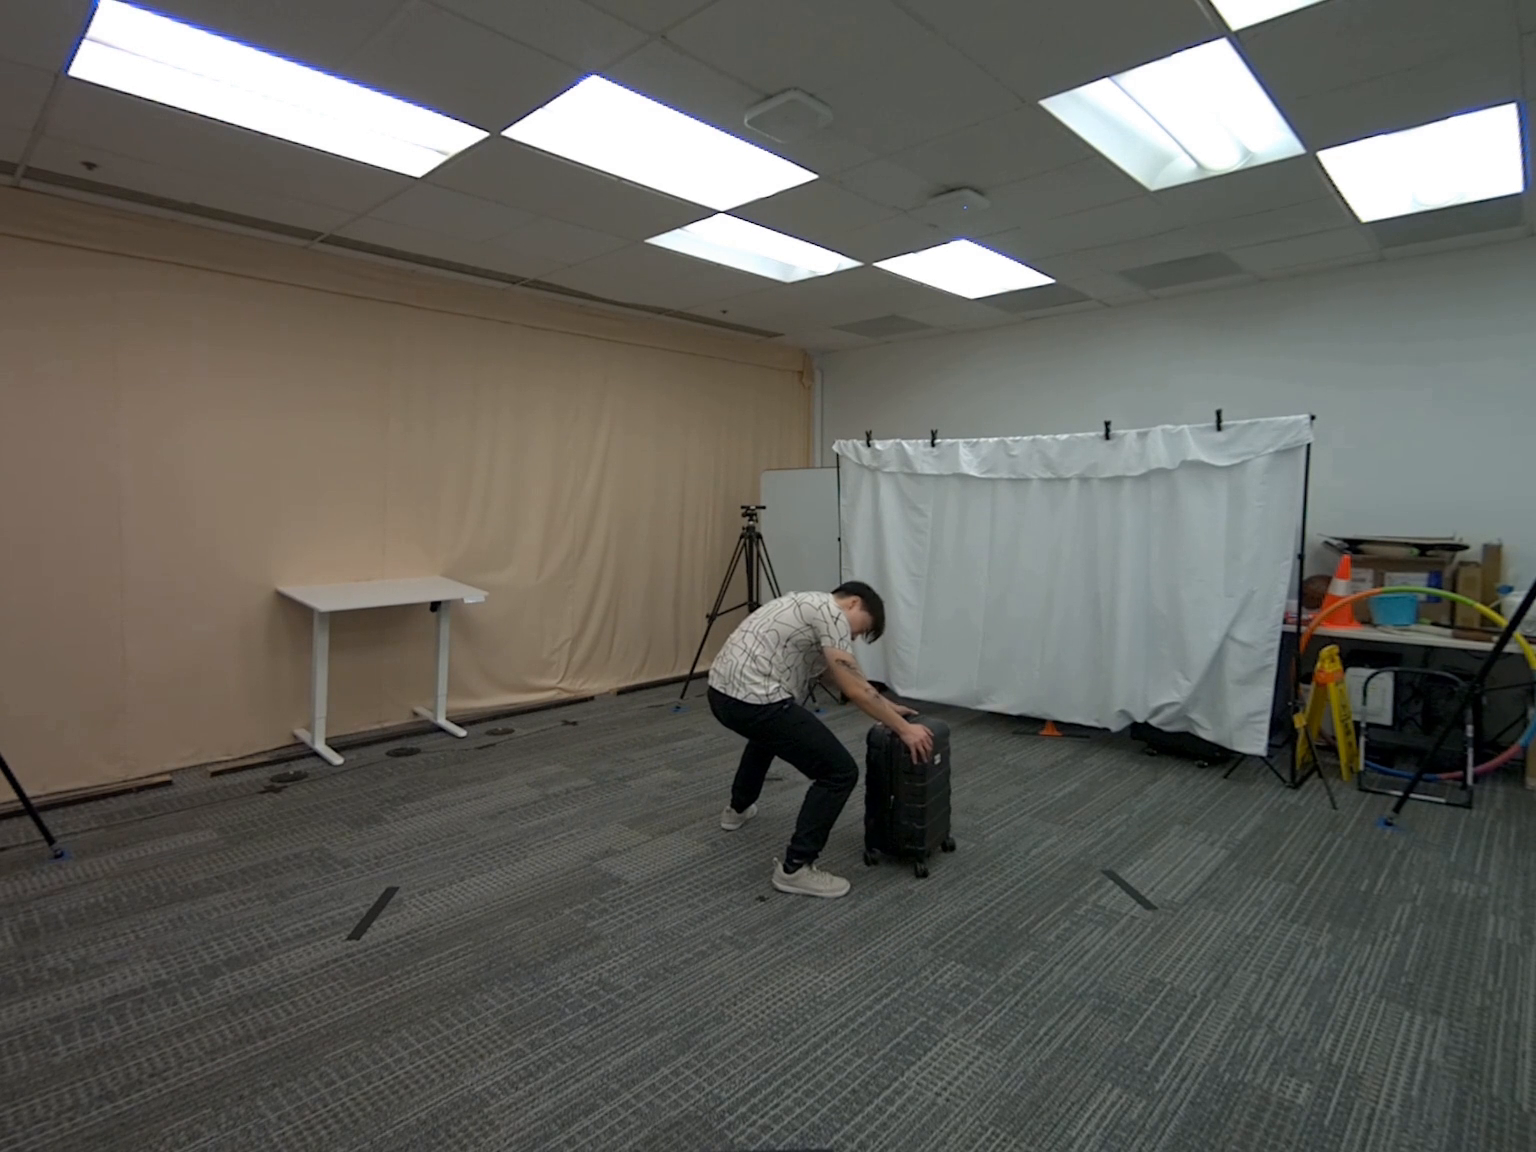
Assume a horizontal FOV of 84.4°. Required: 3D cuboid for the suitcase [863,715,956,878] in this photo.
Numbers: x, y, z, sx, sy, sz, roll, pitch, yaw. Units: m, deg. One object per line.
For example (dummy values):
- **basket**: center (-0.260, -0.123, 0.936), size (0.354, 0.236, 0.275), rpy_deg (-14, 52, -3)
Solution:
- **suitcase**: center (0.565, 0.844, 3.340), size (0.256, 0.549, 0.365), rpy_deg (1, 2, 32)
